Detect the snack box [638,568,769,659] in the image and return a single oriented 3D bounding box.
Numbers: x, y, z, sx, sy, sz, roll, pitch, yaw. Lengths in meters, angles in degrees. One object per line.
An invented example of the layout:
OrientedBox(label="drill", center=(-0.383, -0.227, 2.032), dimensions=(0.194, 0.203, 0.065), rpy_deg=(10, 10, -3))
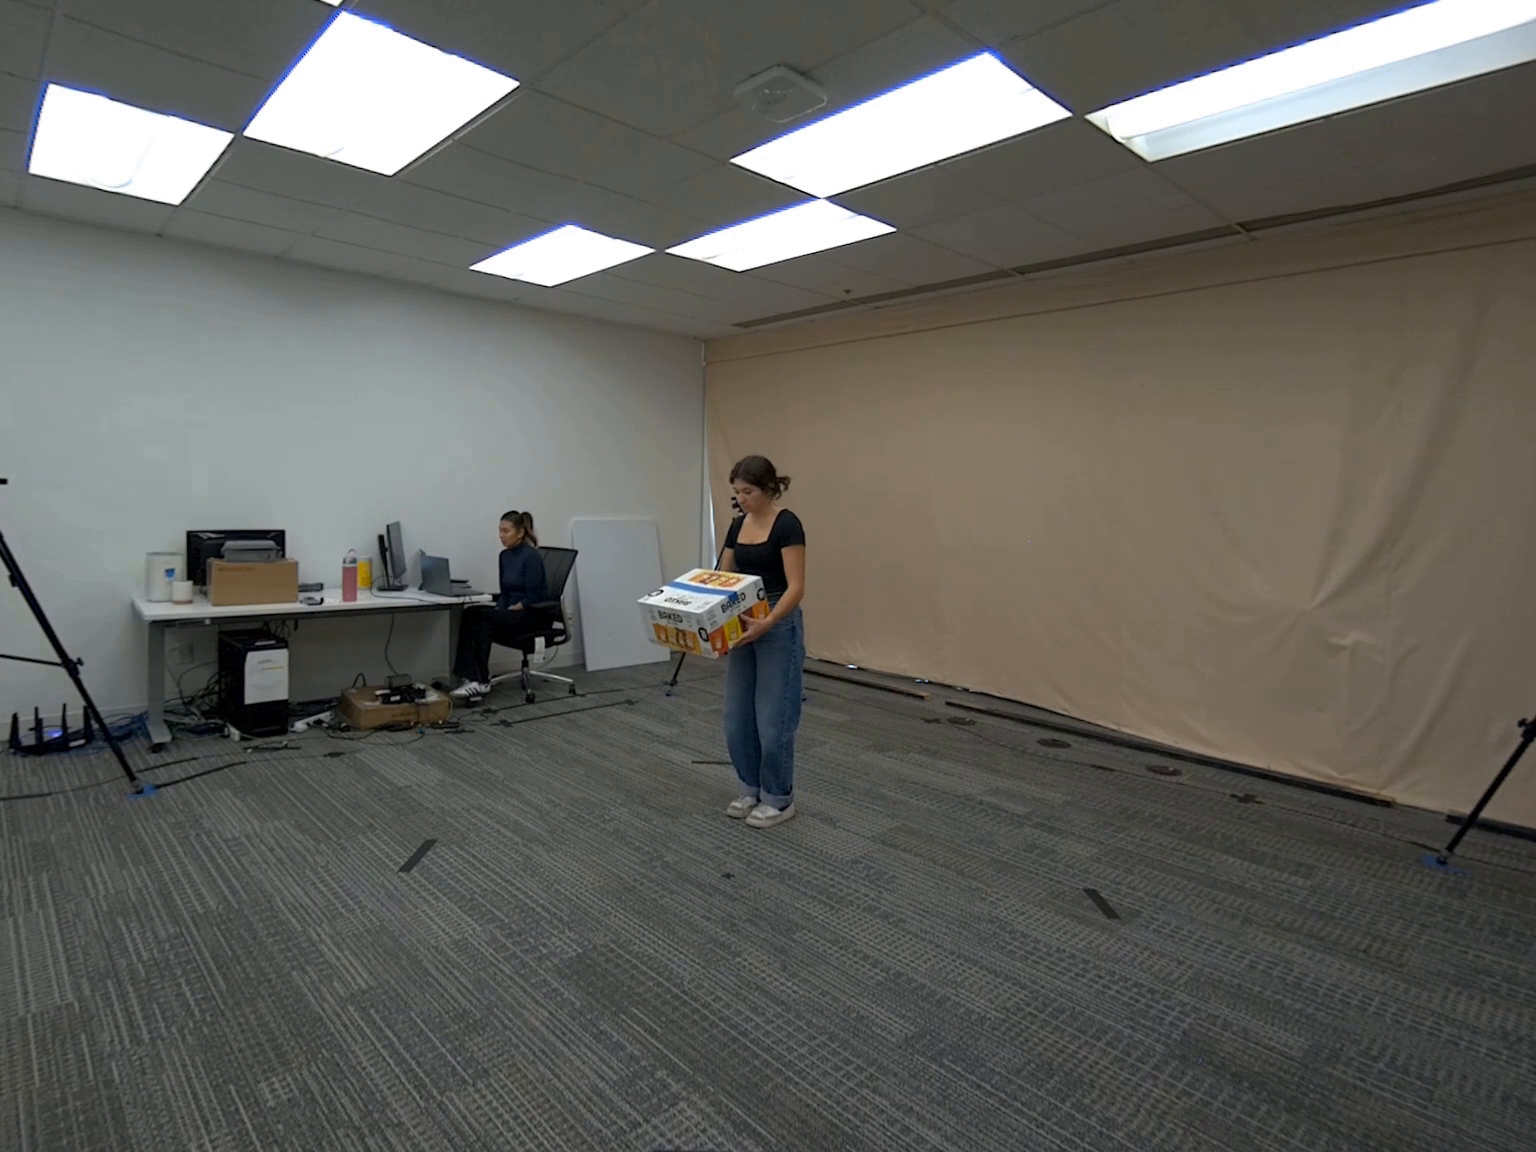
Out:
OrientedBox(label="snack box", center=(-0.269, 0.149, 3.460), dimensions=(0.416, 0.202, 0.337), rpy_deg=(8, 29, 45))
